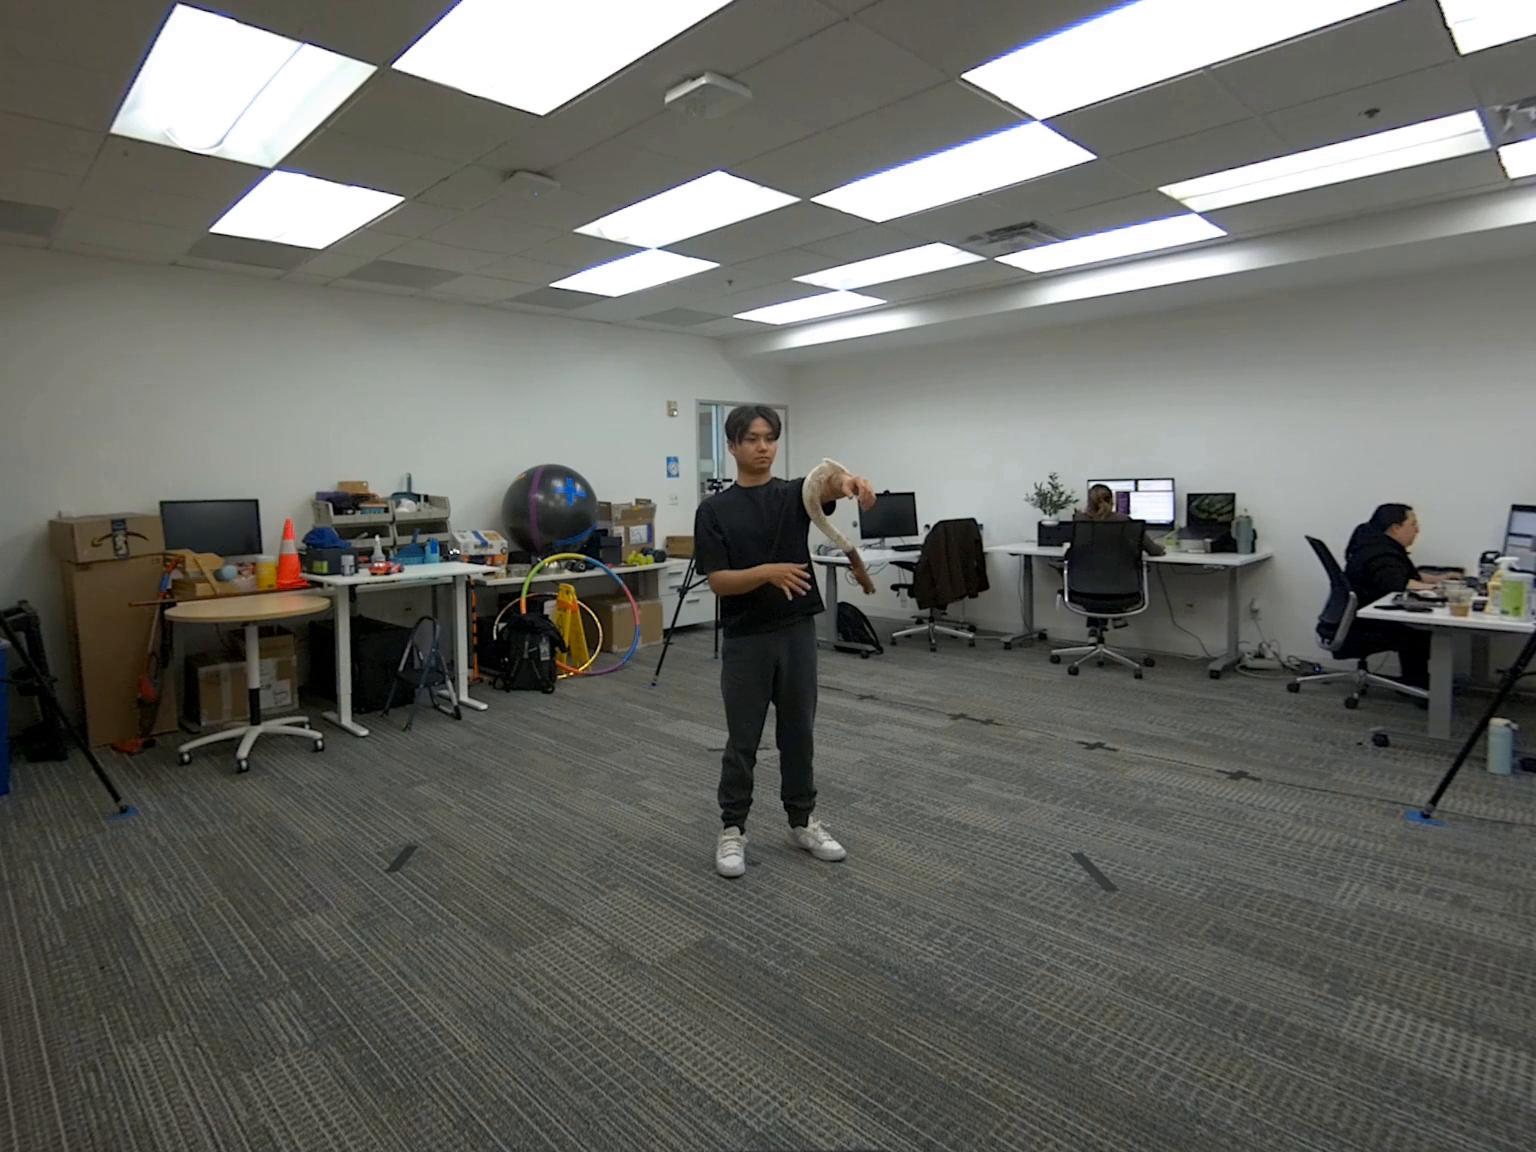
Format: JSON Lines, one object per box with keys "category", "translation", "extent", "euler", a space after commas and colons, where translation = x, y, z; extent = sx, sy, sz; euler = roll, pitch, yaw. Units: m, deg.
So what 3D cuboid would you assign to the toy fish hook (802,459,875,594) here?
{"category": "toy fish hook", "translation": [0.271, -0.162, 2.851], "extent": [0.224, 0.491, 0.050], "euler": [-42, 28, -19]}
